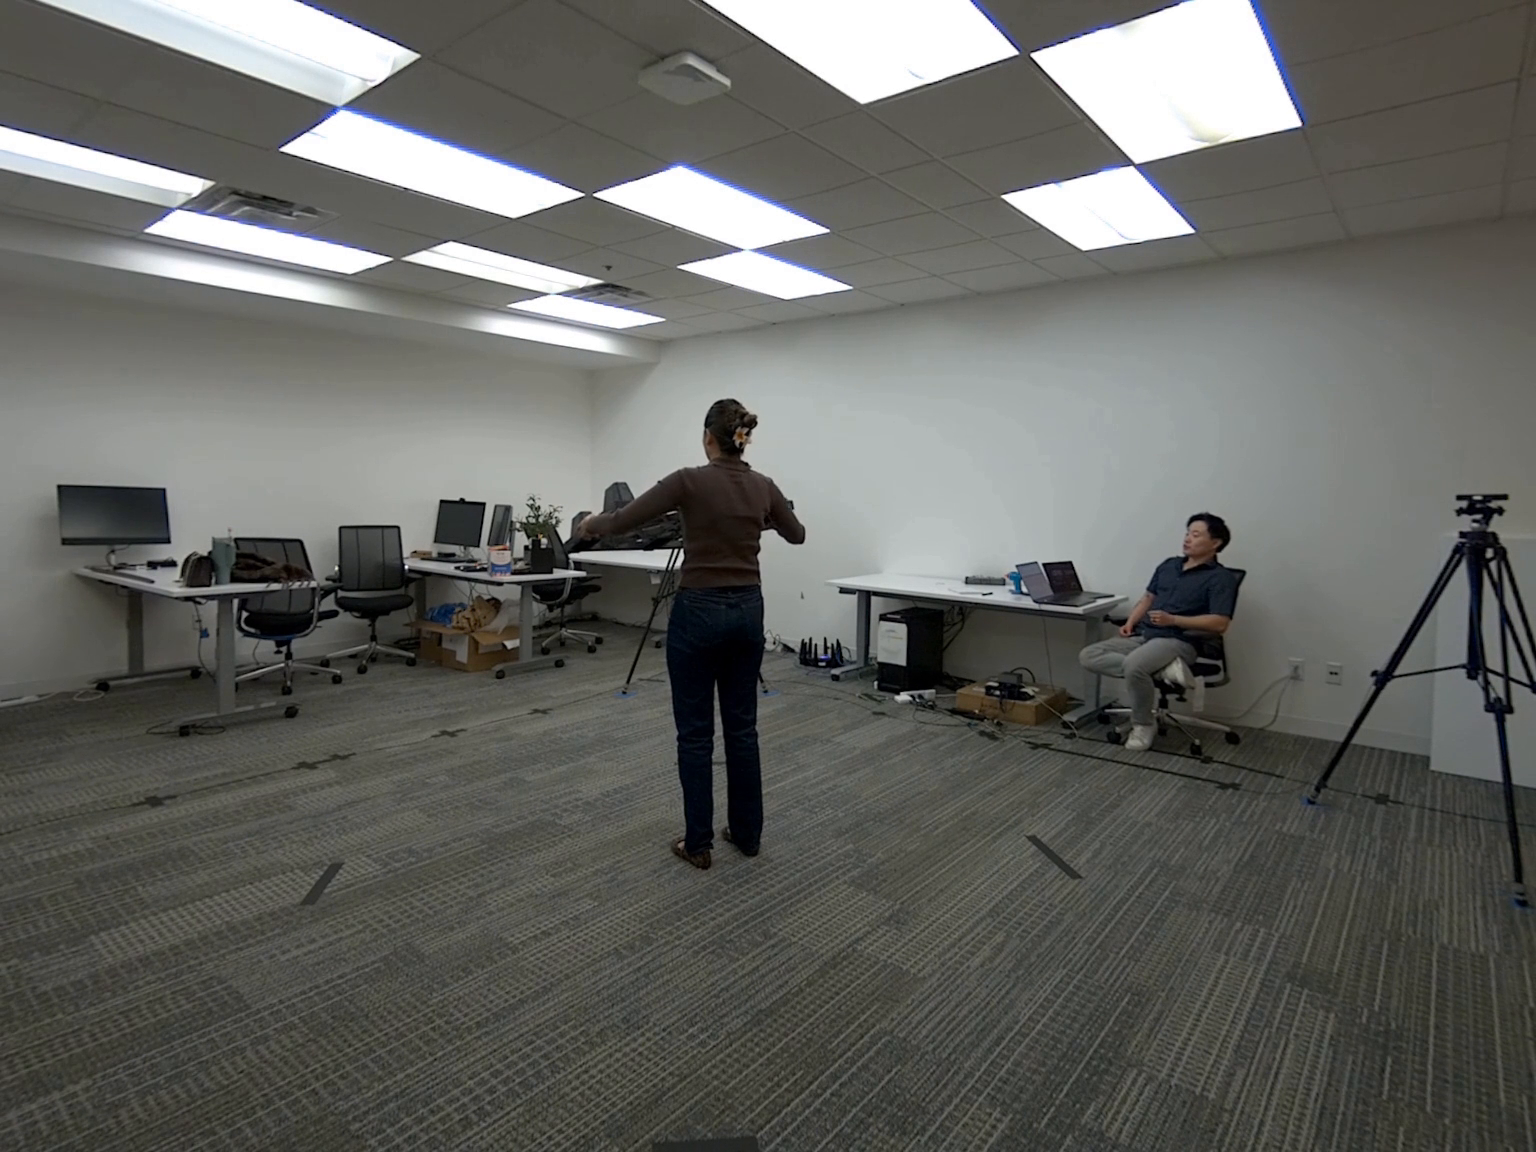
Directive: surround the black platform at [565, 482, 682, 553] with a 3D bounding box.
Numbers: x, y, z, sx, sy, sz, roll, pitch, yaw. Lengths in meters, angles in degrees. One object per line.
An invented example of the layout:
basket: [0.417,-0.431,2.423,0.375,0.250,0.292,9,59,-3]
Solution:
black platform: [-0.398,-0.249,3.558,0.784,0.145,0.613,-3,-12,-32]
